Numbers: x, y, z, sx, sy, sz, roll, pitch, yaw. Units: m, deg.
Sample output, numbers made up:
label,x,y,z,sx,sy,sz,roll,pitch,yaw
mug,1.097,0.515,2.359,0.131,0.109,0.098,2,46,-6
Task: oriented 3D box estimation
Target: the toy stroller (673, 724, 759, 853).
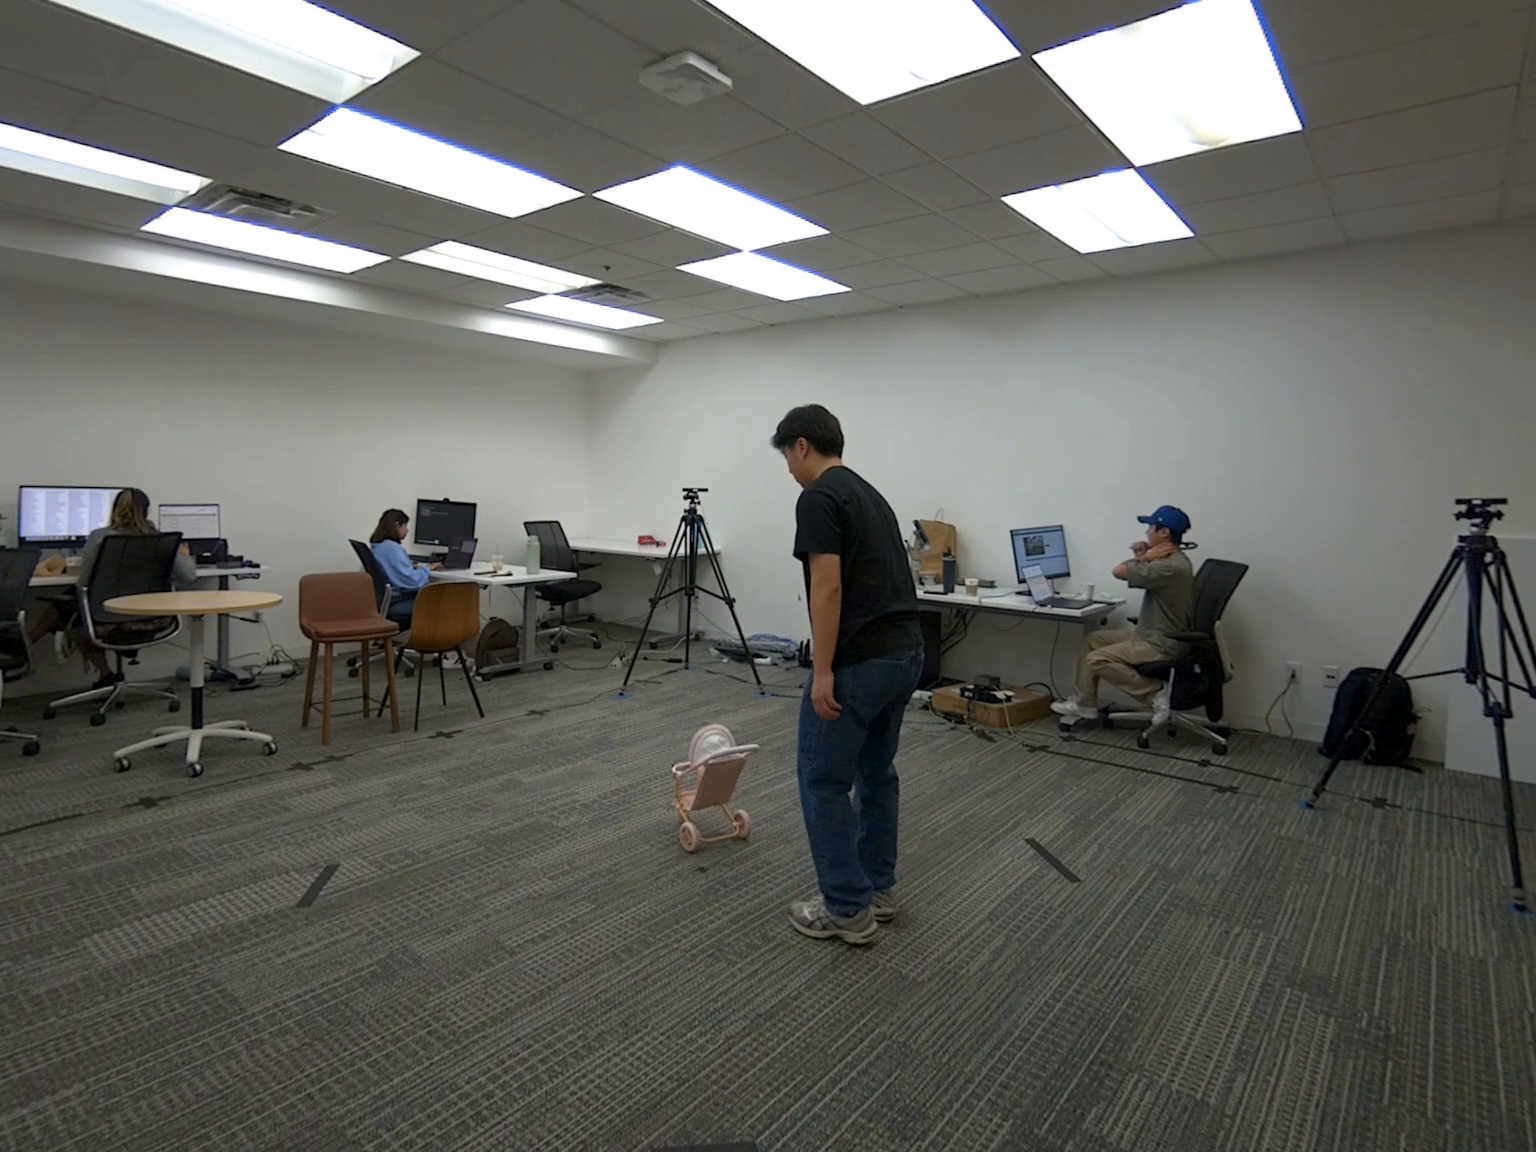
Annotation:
label,x,y,z,sx,sy,sz,roll,pitch,yaw
toy stroller,-0.245,0.820,3.381,0.274,0.528,0.355,-1,20,-30
